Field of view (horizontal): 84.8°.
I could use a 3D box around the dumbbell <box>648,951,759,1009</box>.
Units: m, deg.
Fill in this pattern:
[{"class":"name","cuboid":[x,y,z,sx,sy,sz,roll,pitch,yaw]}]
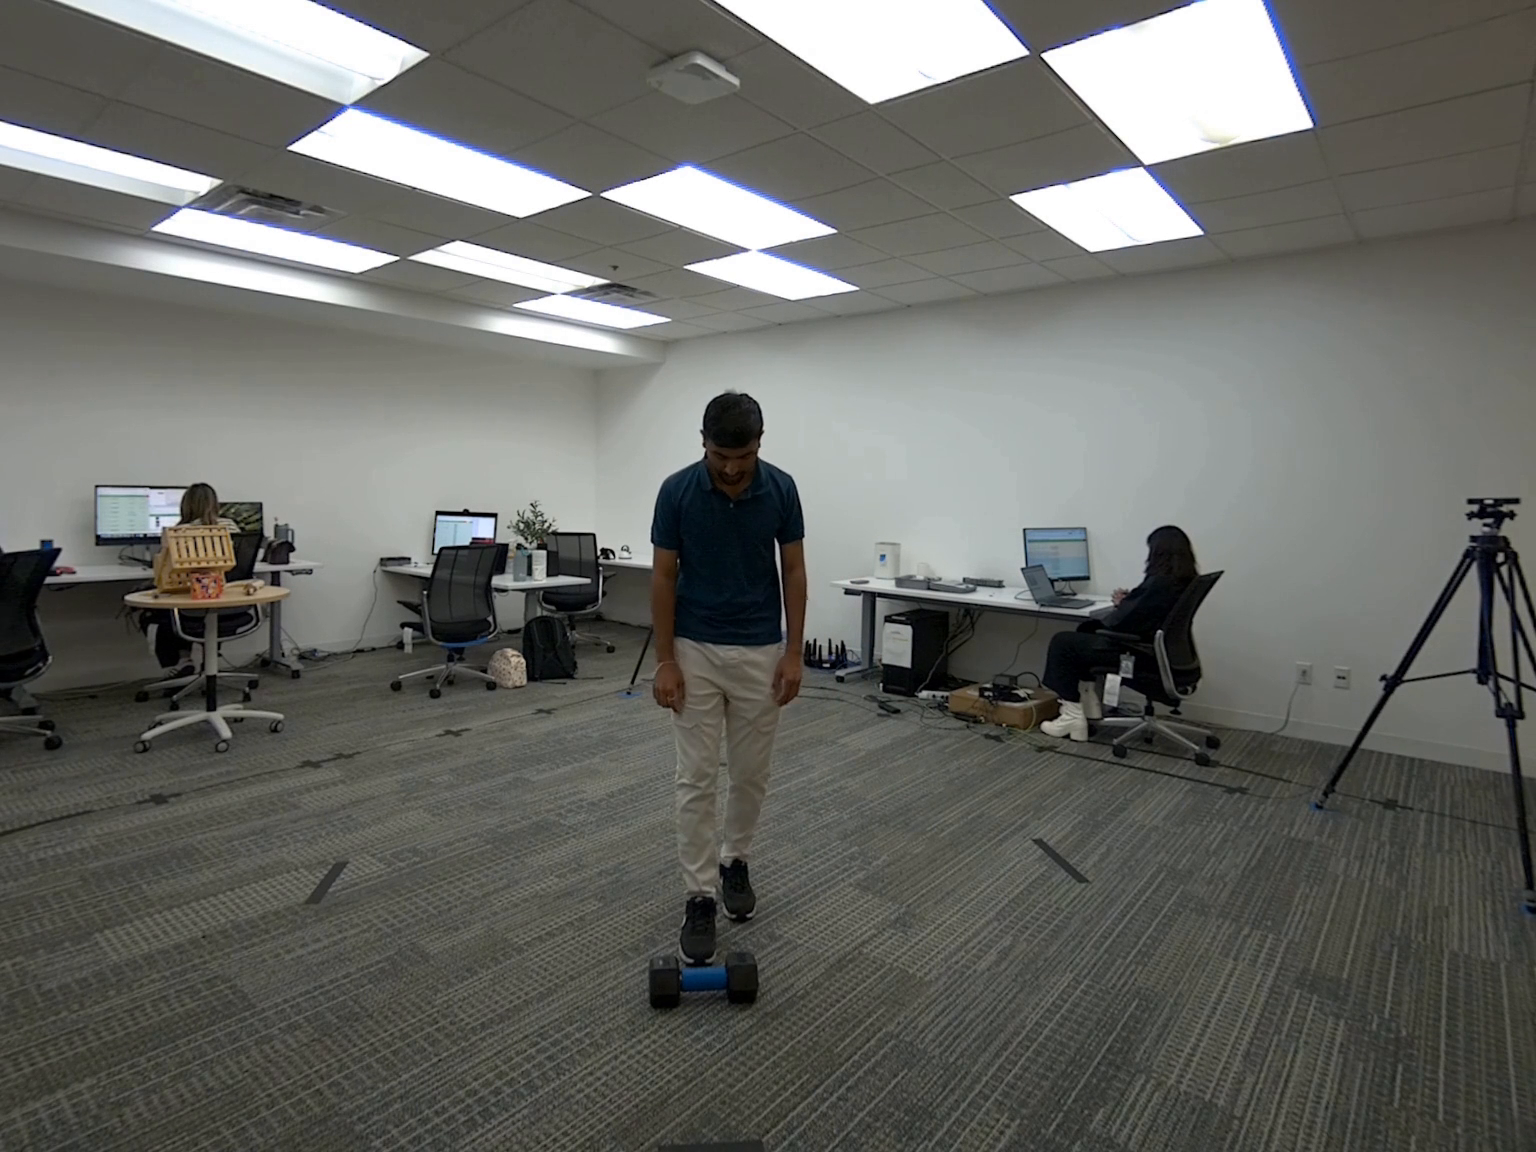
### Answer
[{"class":"dumbbell","cuboid":[-0.180,1.093,2.311,0.291,0.108,0.124,0,5,-8]}]
